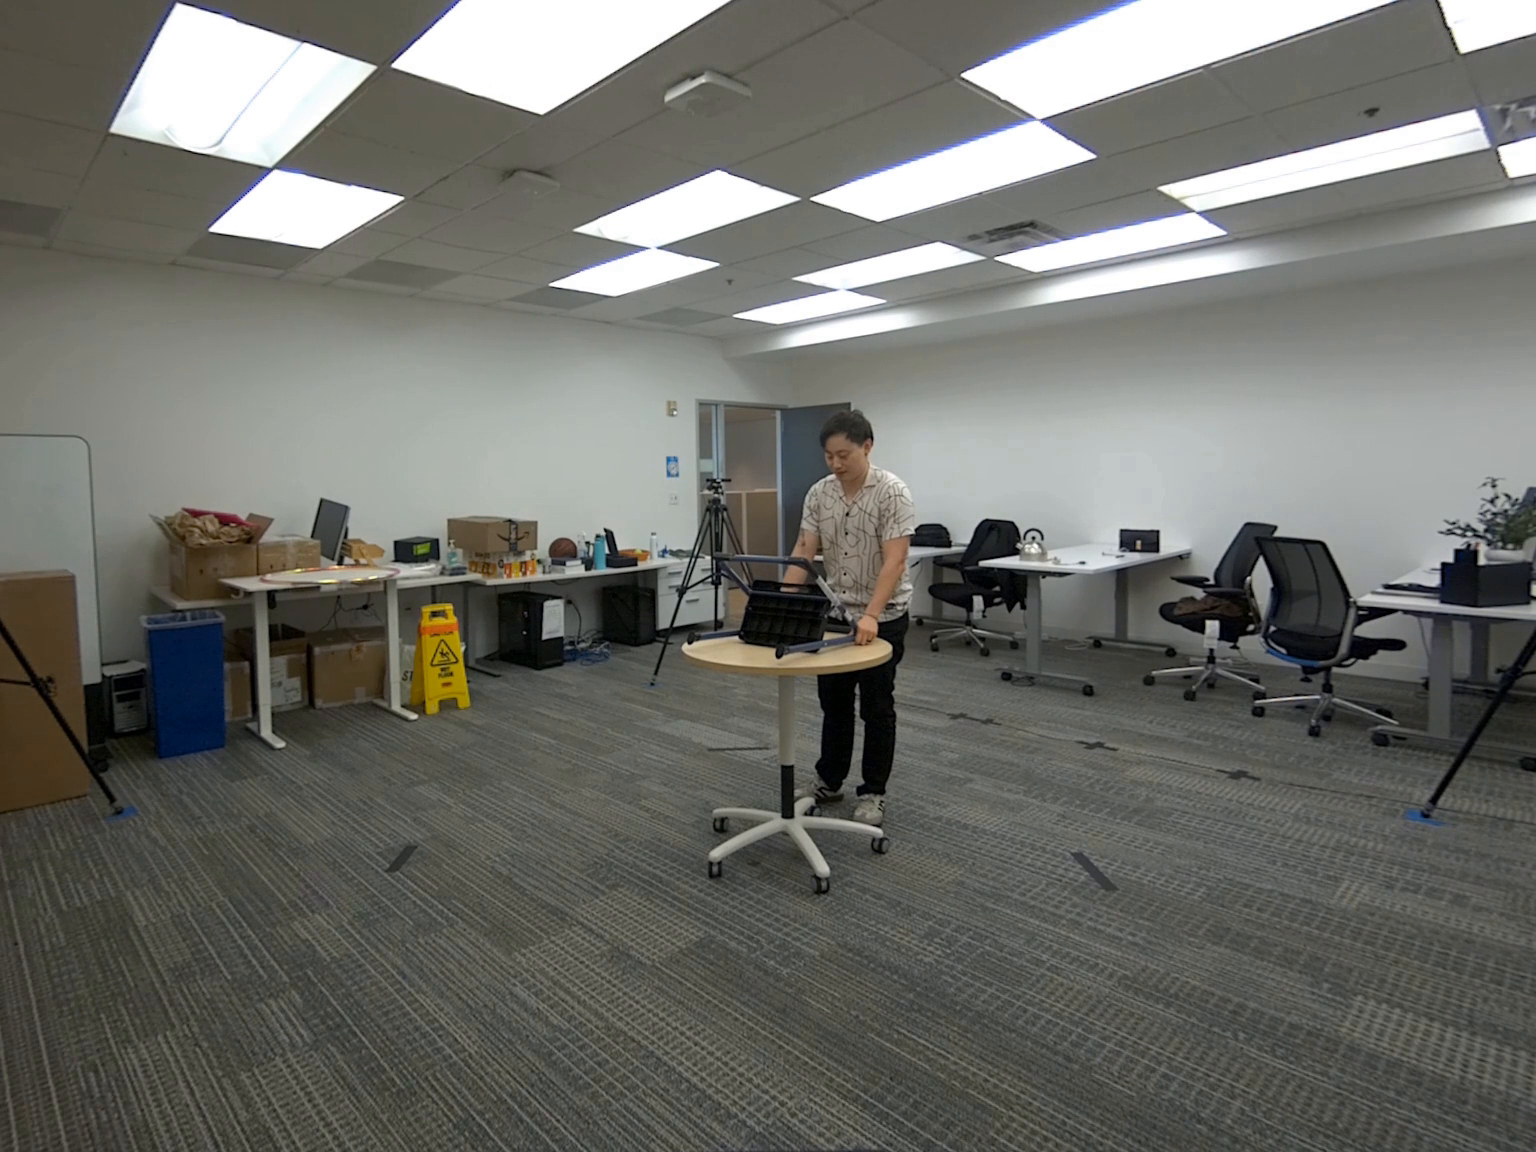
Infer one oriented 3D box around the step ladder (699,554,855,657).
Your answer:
[{"bbox_3d":[0.086,0.185,3.162,0.444,0.352,0.583,4,-17,39],"label":"step ladder"}]
